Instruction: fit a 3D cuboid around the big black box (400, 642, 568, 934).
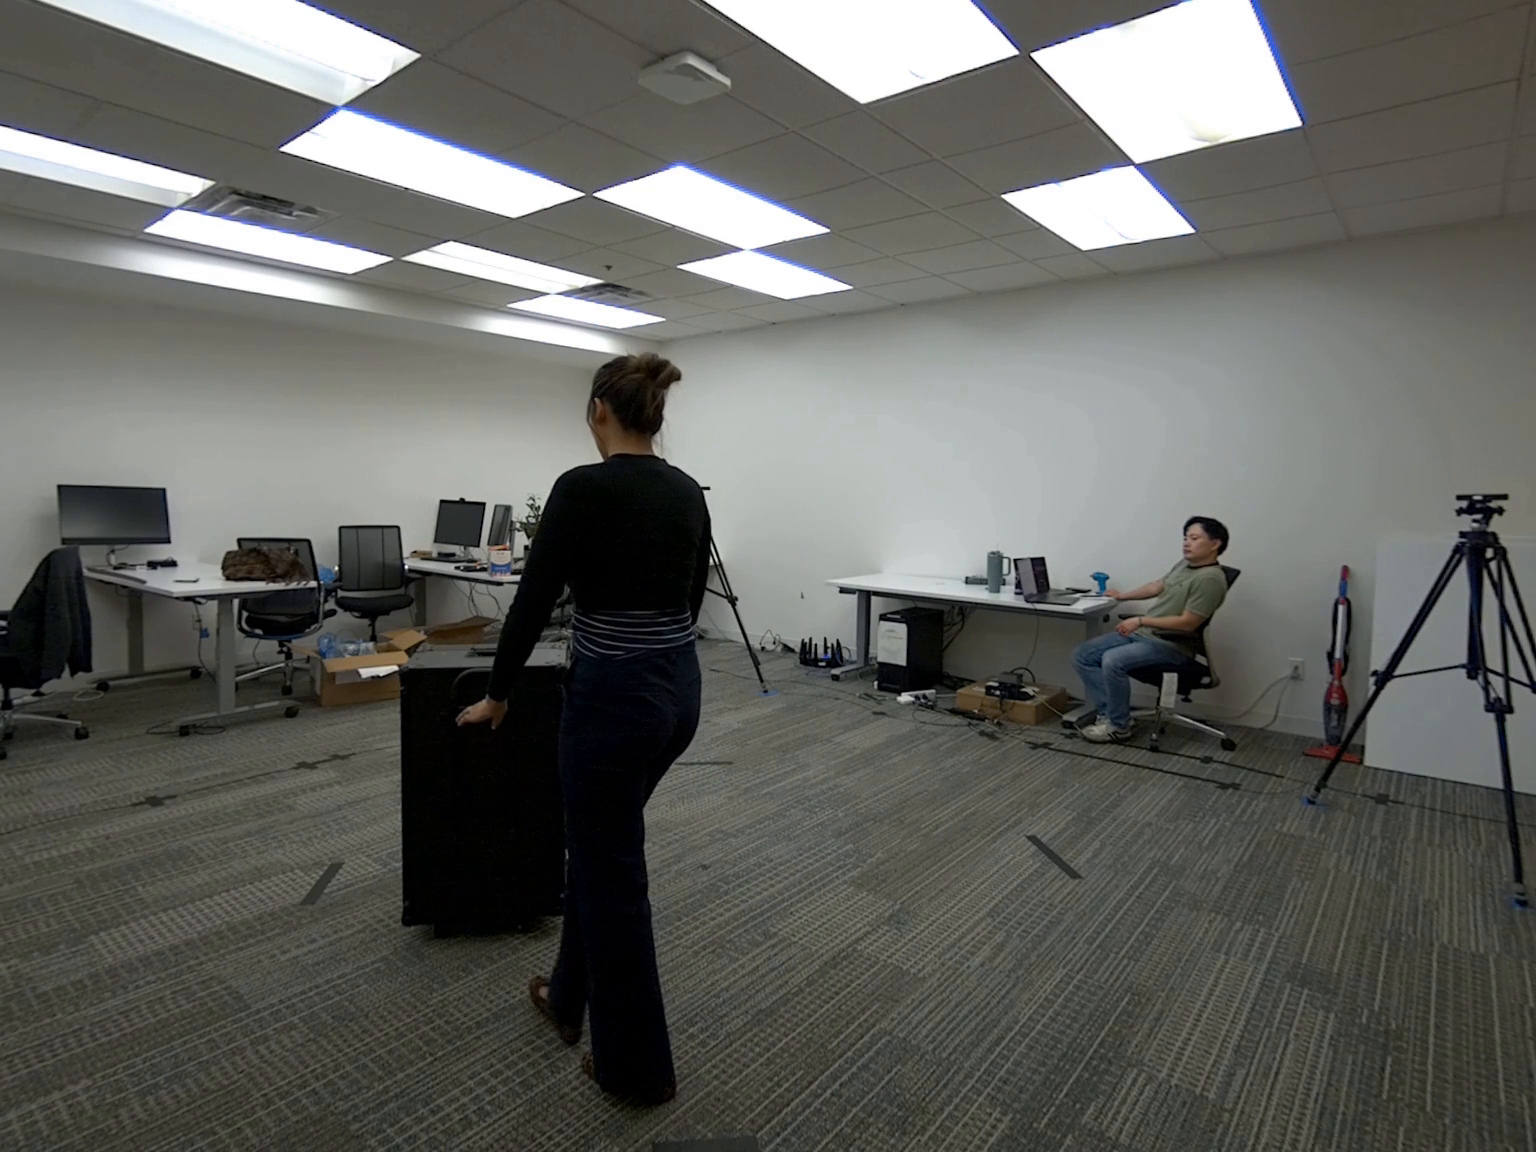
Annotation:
[{"bbox_3d":[-0.895,0.669,2.714,0.516,0.858,0.402,0,4,-10],"label":"big black box"}]
